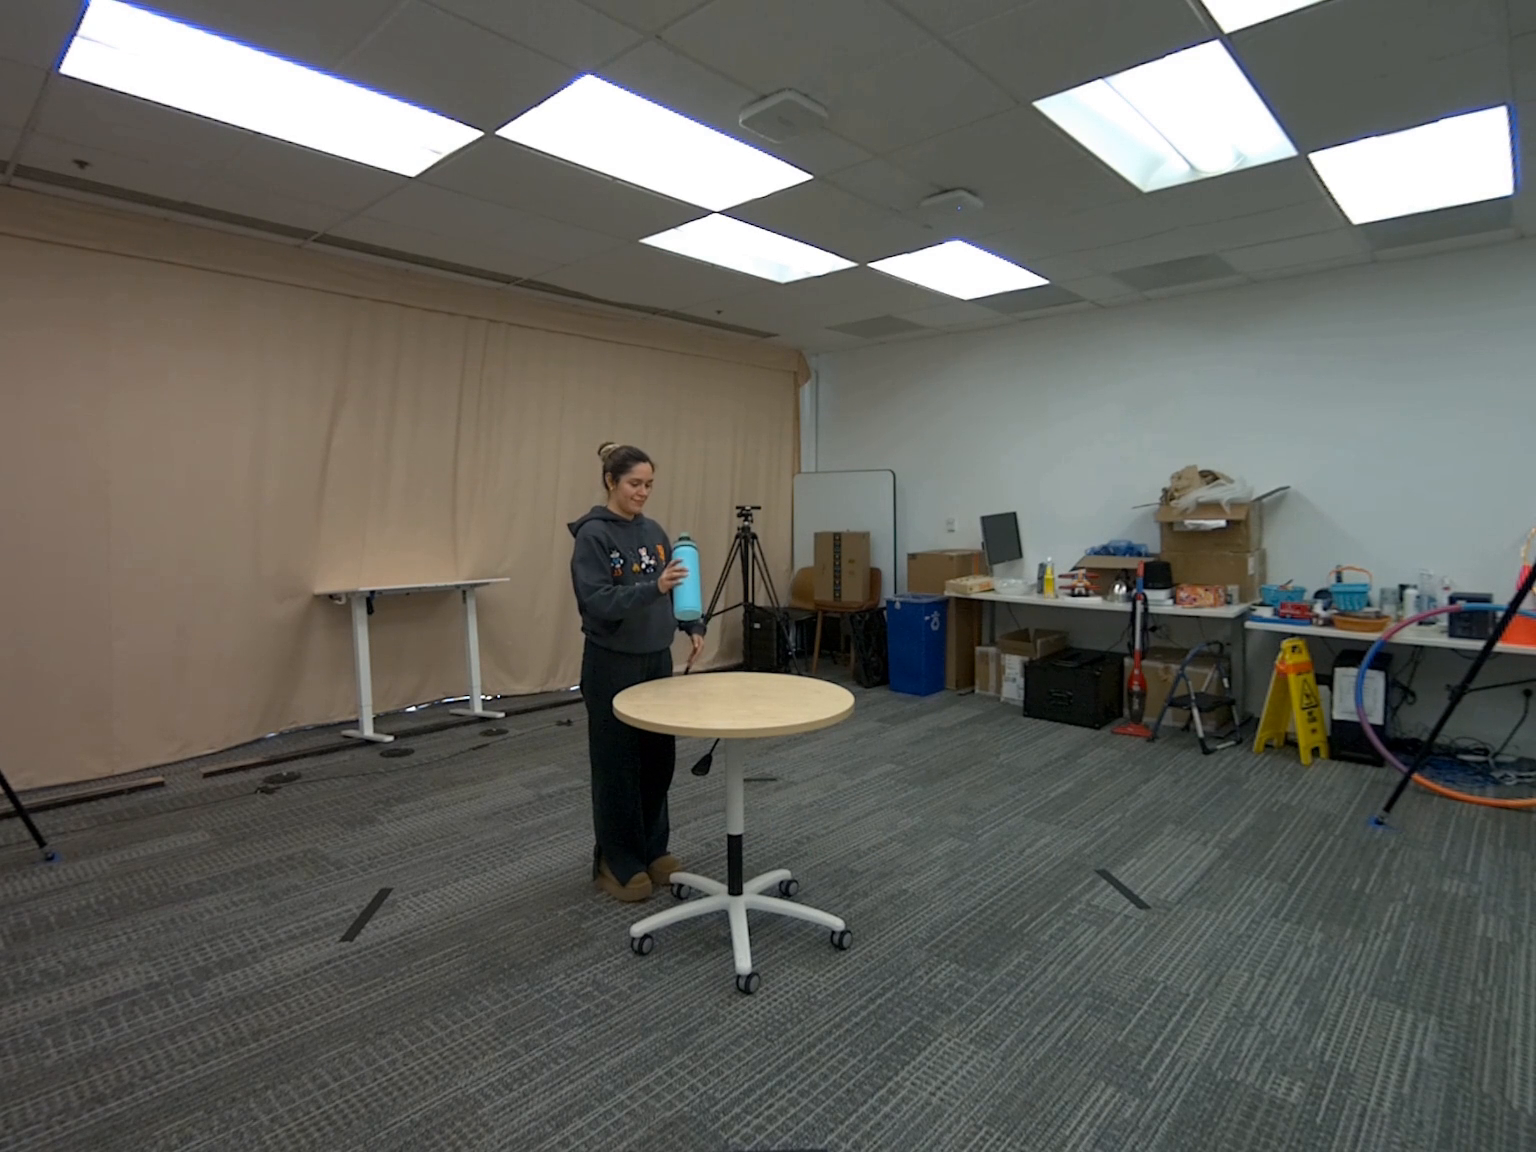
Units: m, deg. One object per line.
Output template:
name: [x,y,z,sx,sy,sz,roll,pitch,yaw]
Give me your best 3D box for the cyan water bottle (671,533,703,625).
cyan water bottle: [-0.258,0.001,2.758,0.092,0.288,0.091,-4,-26,-4]
